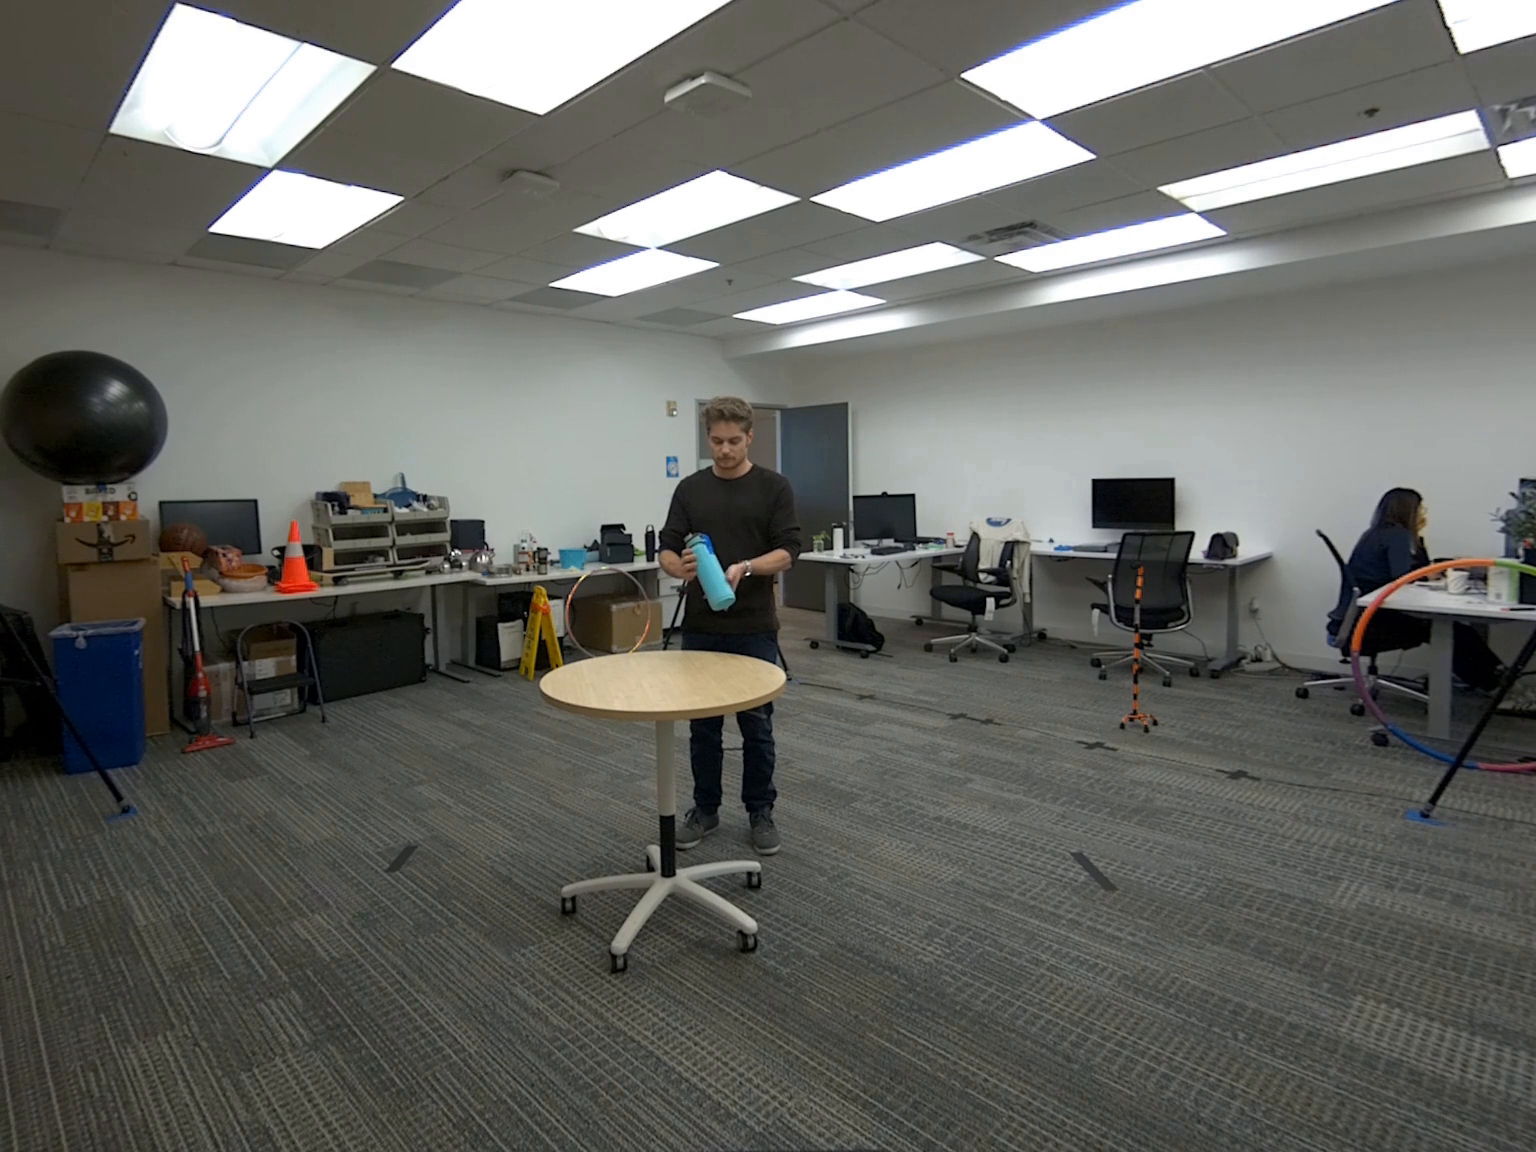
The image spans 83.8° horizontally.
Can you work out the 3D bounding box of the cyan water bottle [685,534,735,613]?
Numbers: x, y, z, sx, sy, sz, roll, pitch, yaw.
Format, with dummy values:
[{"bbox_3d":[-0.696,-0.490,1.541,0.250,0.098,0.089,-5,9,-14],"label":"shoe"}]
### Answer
[{"bbox_3d":[-0.206,-0.021,2.970,0.092,0.291,0.090,-20,-22,-10],"label":"cyan water bottle"}]
